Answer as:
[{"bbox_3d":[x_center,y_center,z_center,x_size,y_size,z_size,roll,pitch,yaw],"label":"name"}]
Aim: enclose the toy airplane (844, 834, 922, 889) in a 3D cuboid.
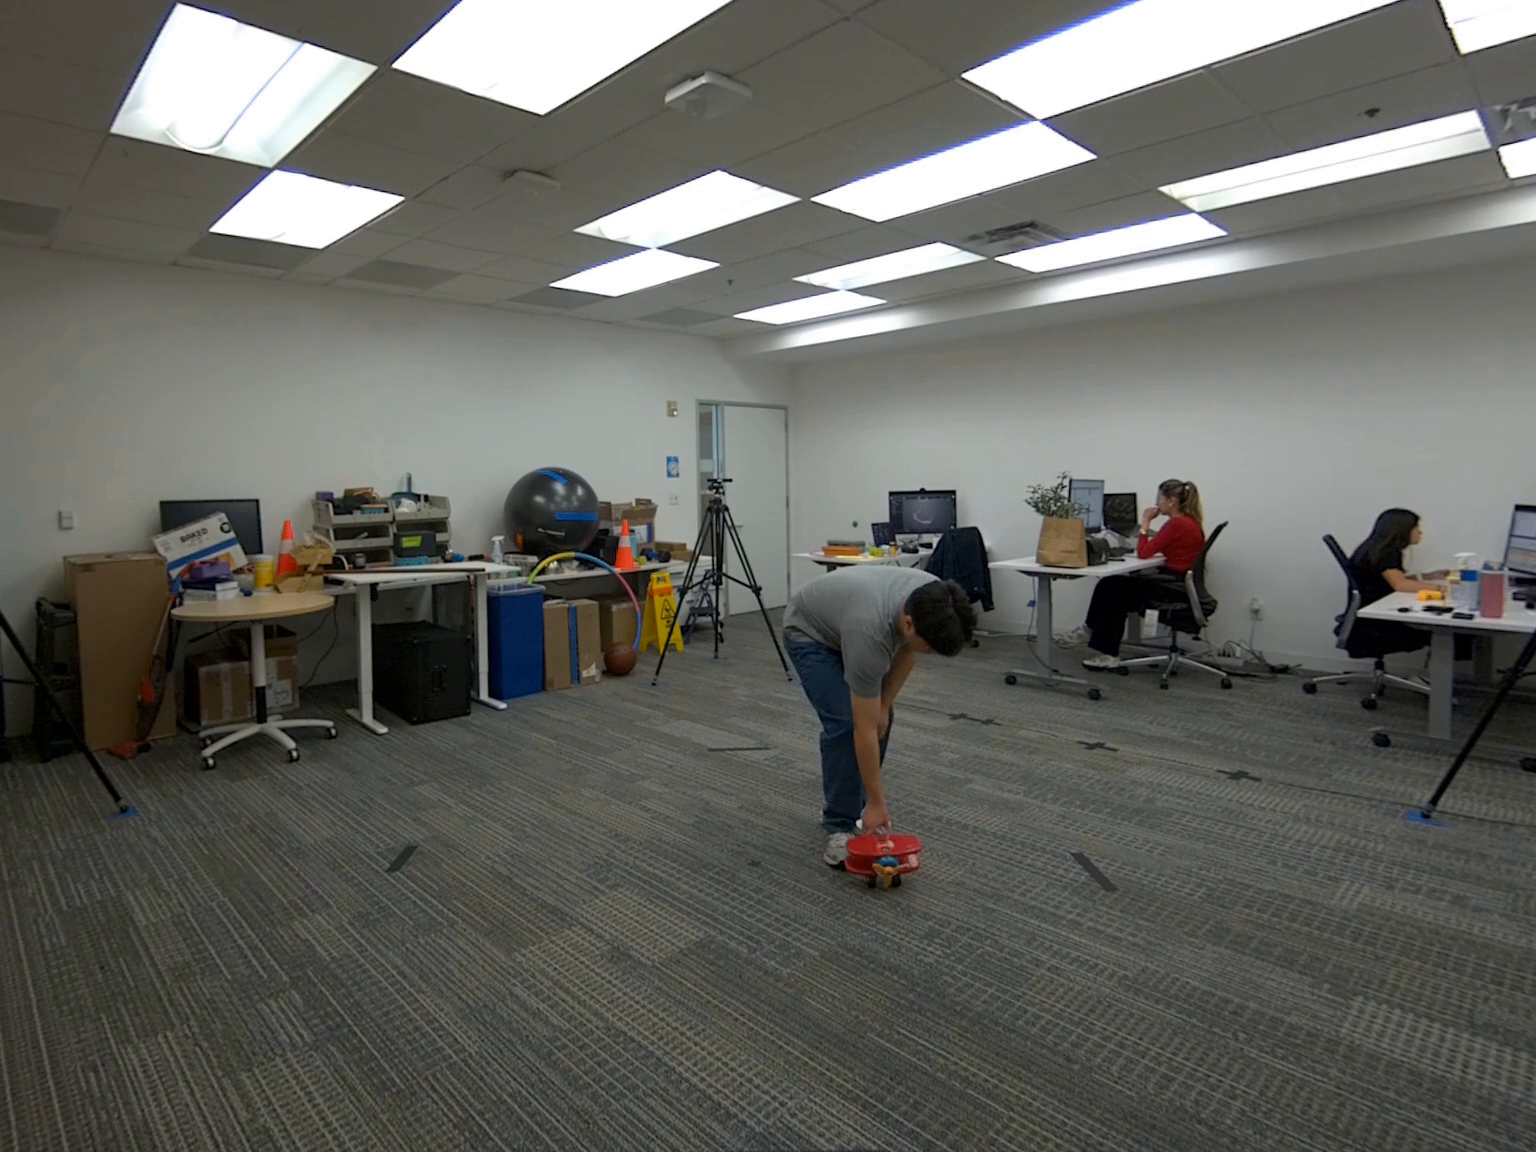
[{"bbox_3d":[0.372,0.949,2.950,0.247,0.152,0.269,-20,44,-25],"label":"toy airplane"}]
